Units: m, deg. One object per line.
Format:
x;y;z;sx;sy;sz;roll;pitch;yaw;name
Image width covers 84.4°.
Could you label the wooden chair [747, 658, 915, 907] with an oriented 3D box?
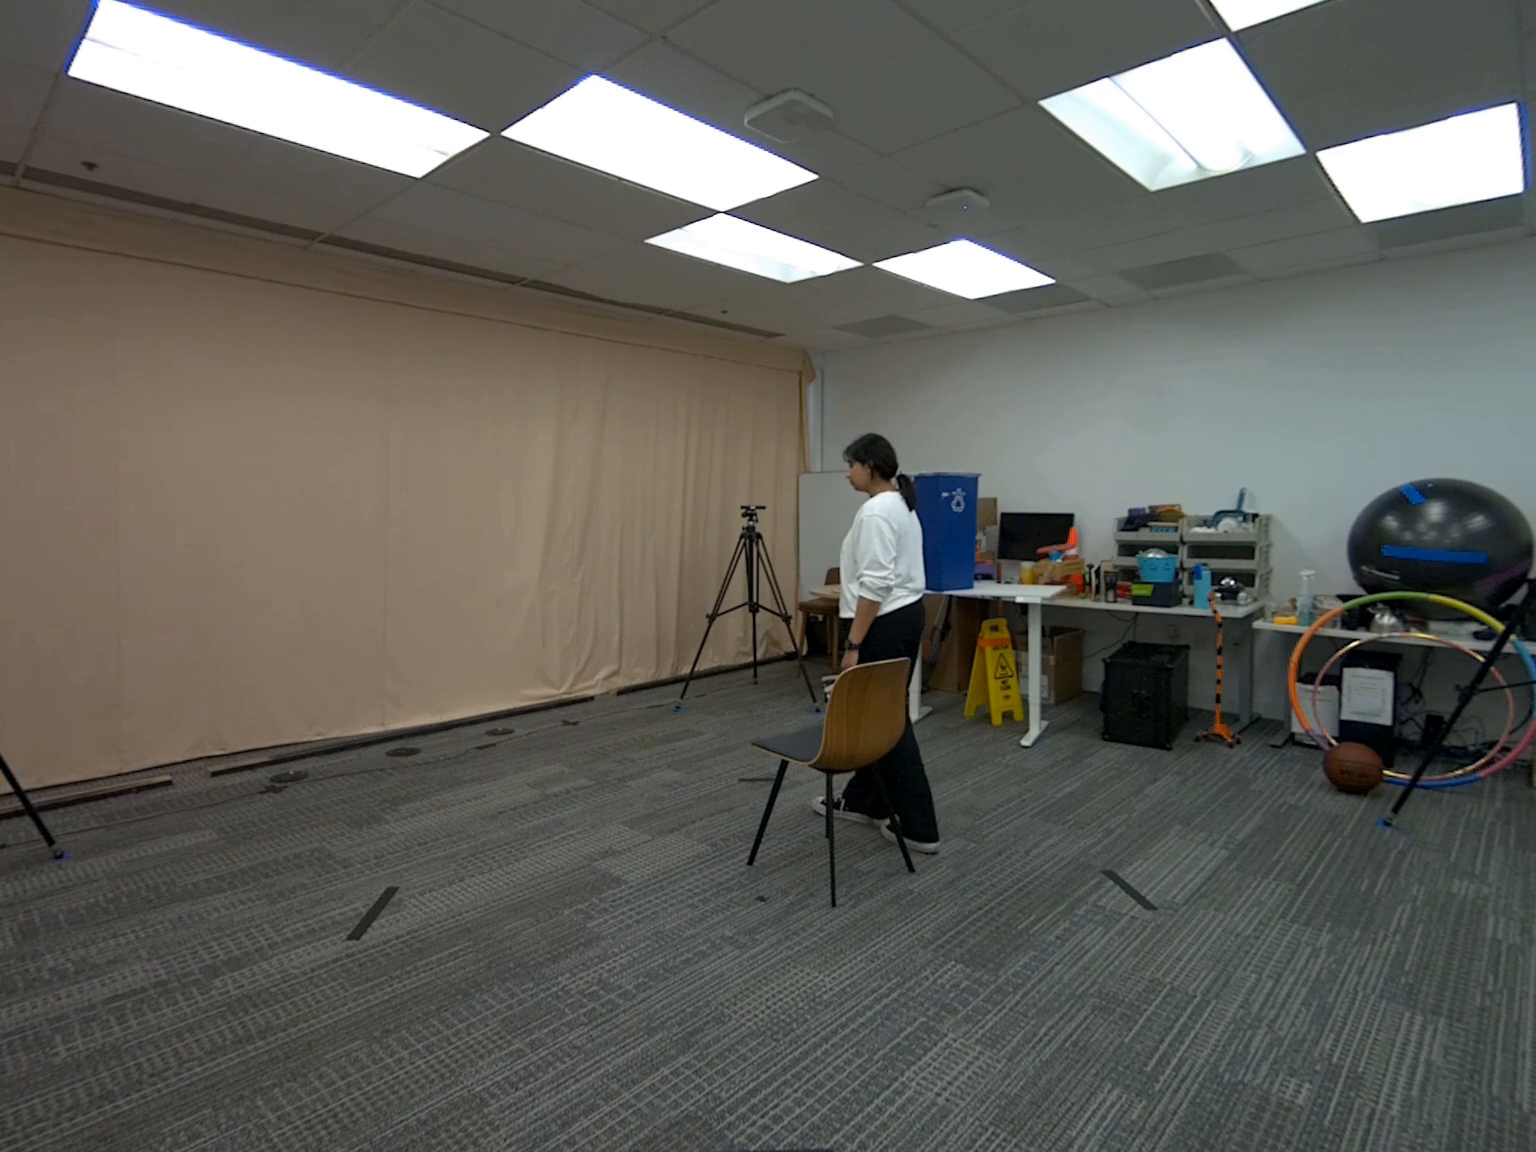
0.234;0.695;3.201;0.463;0.874;0.541;-3;9;-42;wooden chair
